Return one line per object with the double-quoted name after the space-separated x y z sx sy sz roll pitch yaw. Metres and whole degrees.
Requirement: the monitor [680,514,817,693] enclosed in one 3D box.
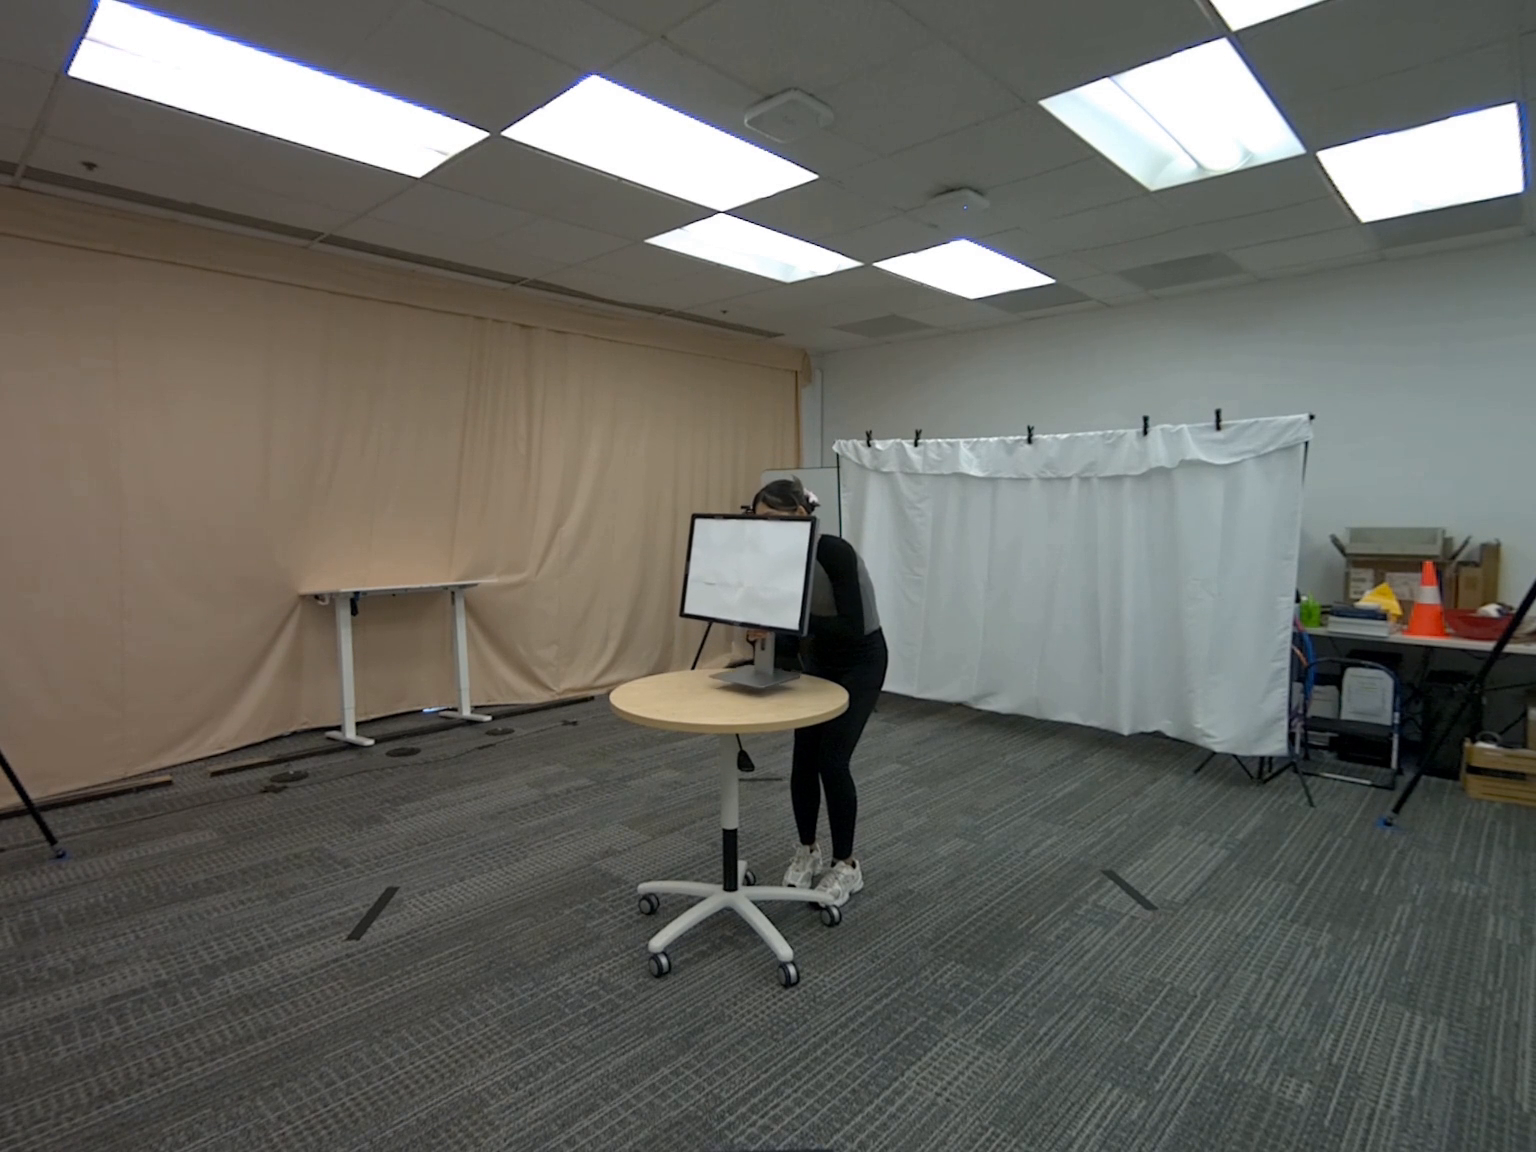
-0.048 0.070 2.756 0.557 0.520 0.182 4 8 43 "monitor"
